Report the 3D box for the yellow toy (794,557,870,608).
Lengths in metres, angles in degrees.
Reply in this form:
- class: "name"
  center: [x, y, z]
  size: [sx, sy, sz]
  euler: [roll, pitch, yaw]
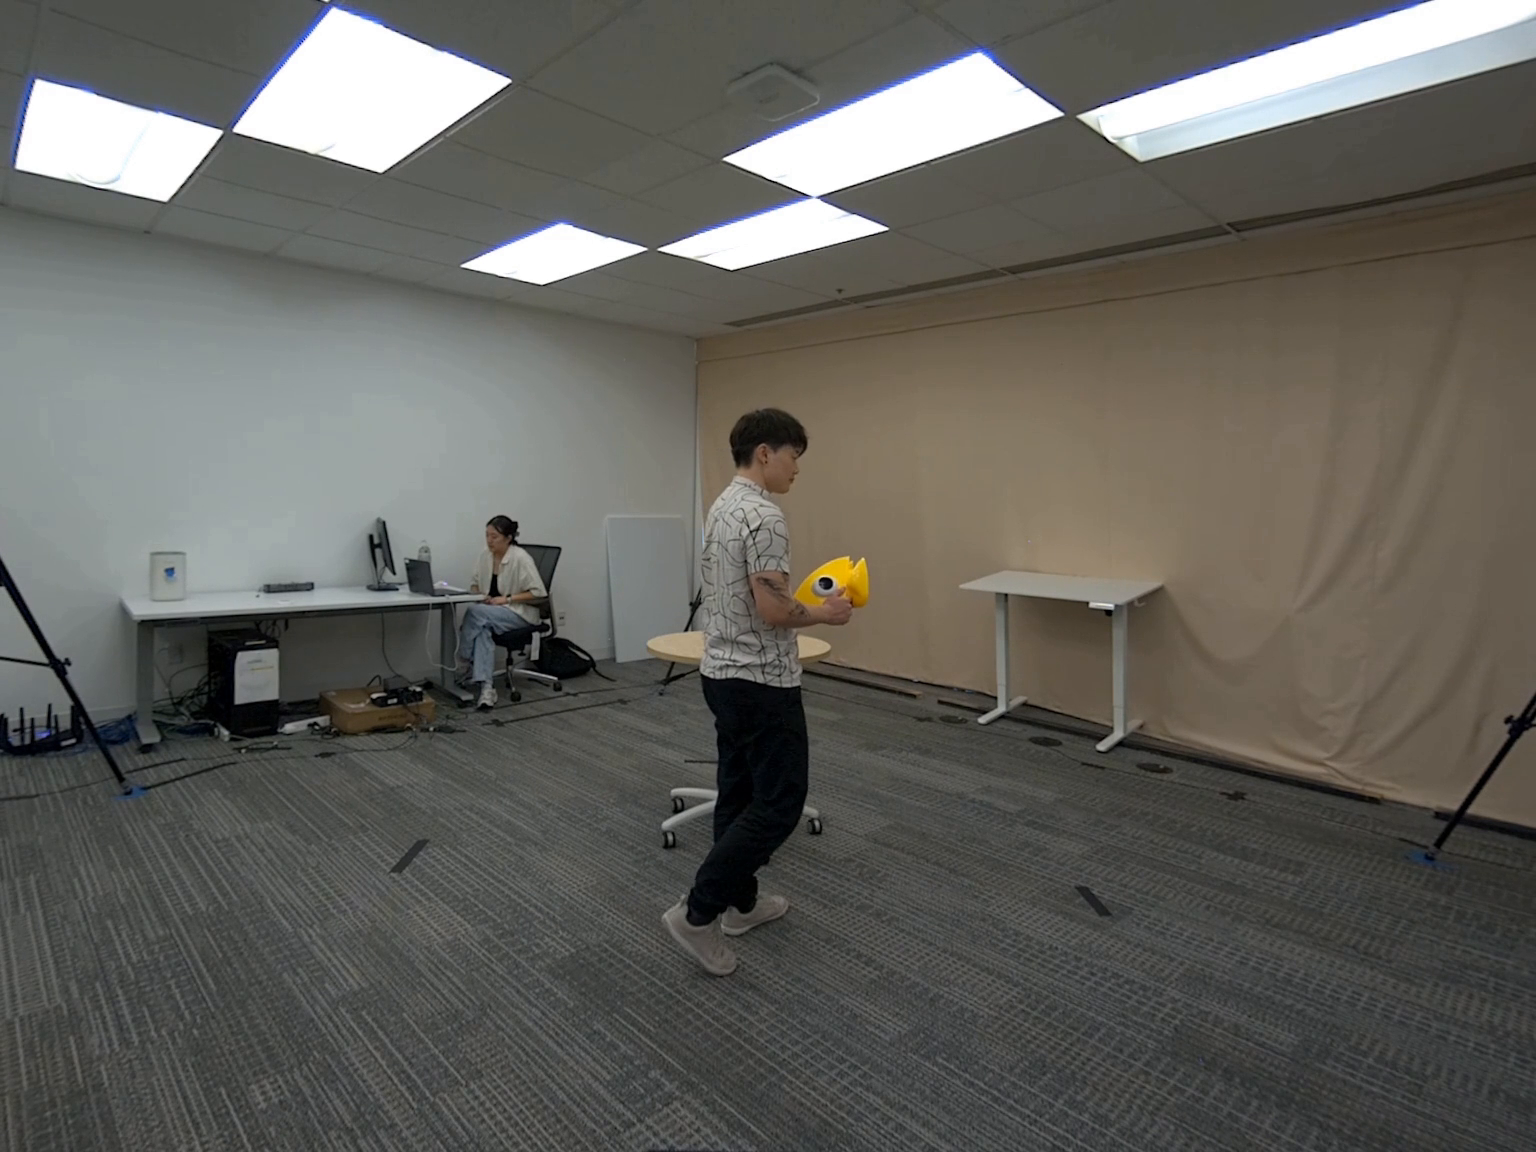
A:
- class: "yellow toy"
  center: [0.175, 0.032, 2.705]
  size: [0.228, 0.193, 0.207]
  euler: [0, 0, -14]
